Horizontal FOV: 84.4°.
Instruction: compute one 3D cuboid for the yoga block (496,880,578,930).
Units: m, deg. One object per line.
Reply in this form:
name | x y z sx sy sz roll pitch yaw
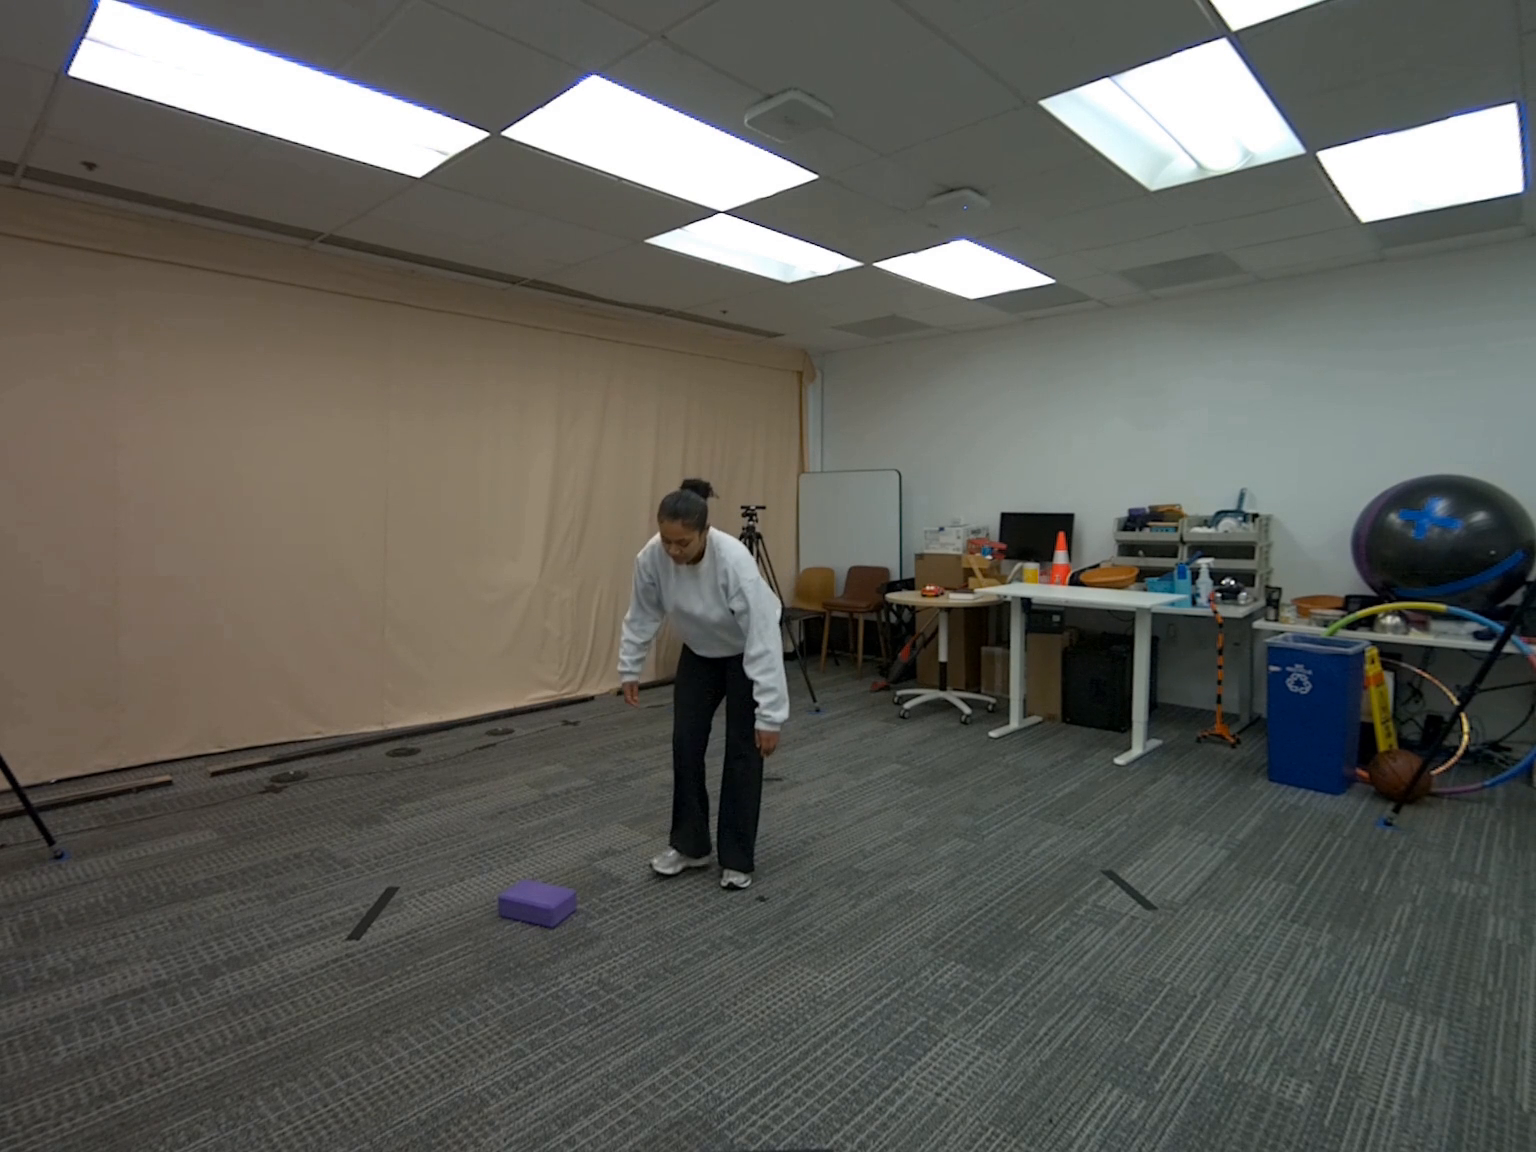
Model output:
yoga block | -0.793 1.122 2.877 0.235 0.076 0.146 2 5 24
